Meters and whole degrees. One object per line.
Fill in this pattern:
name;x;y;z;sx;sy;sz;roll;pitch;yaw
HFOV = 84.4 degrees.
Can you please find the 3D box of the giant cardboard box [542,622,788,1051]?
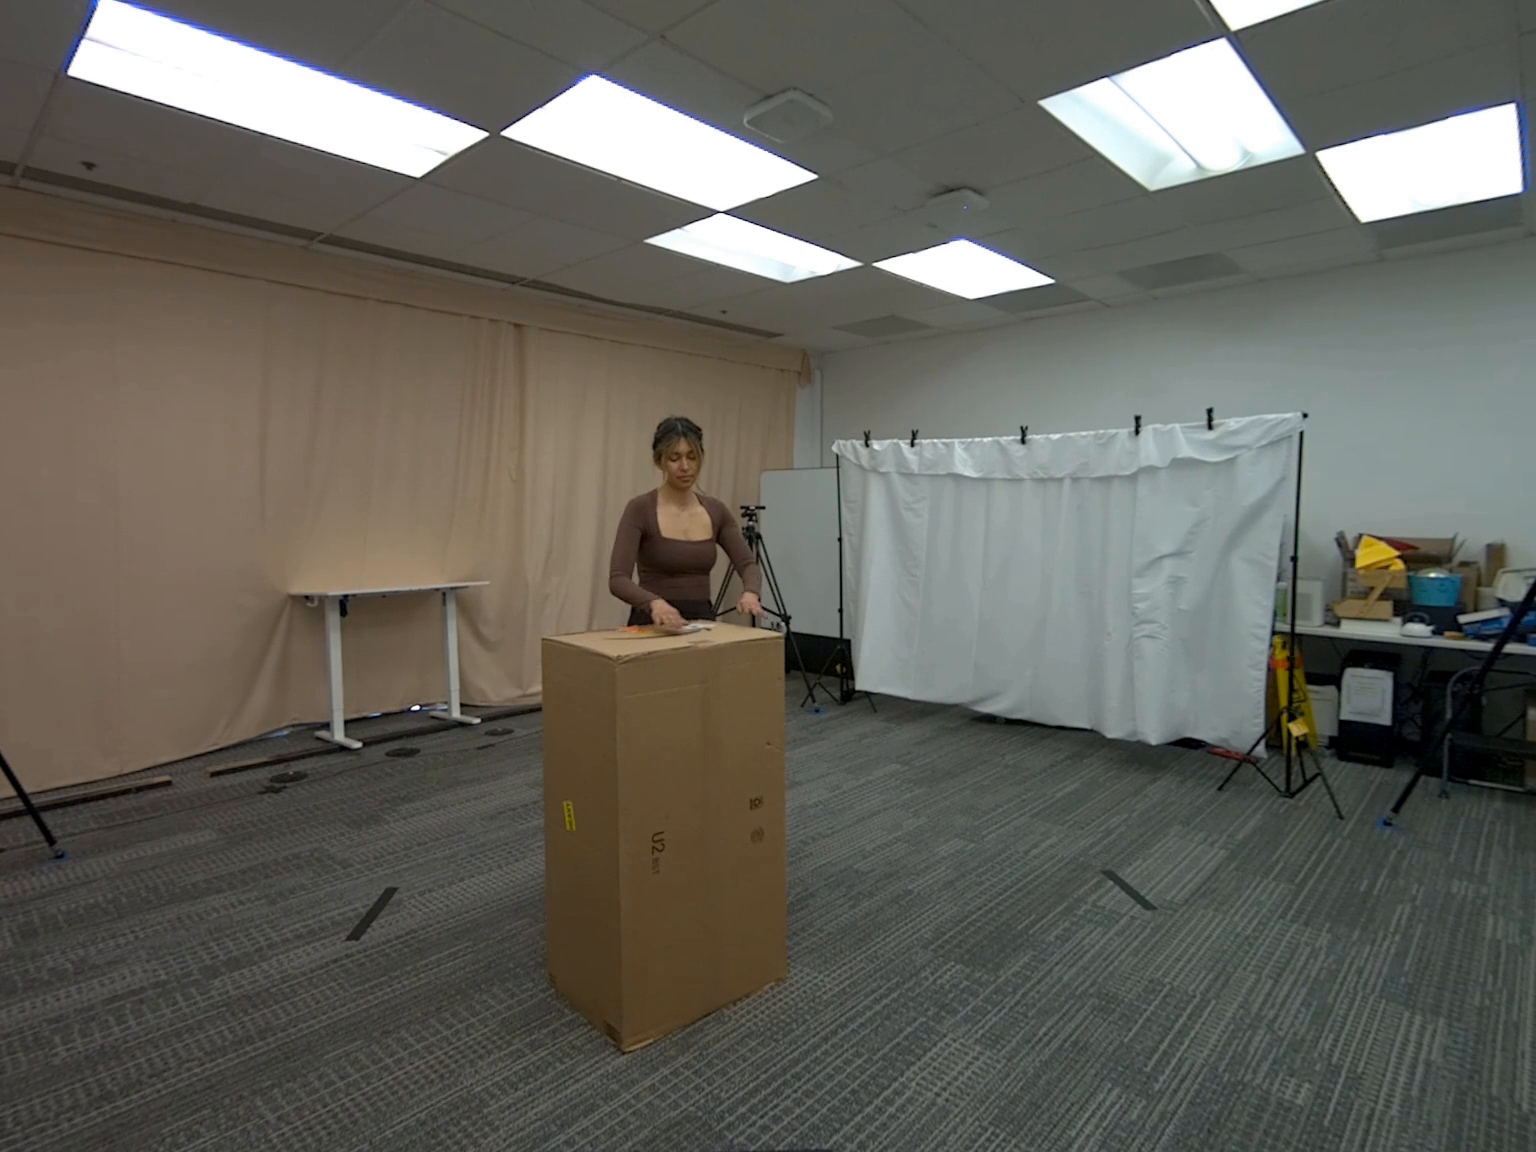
giant cardboard box;-0.298;0.679;2.452;0.566;1.025;0.461;-3;3;-38
